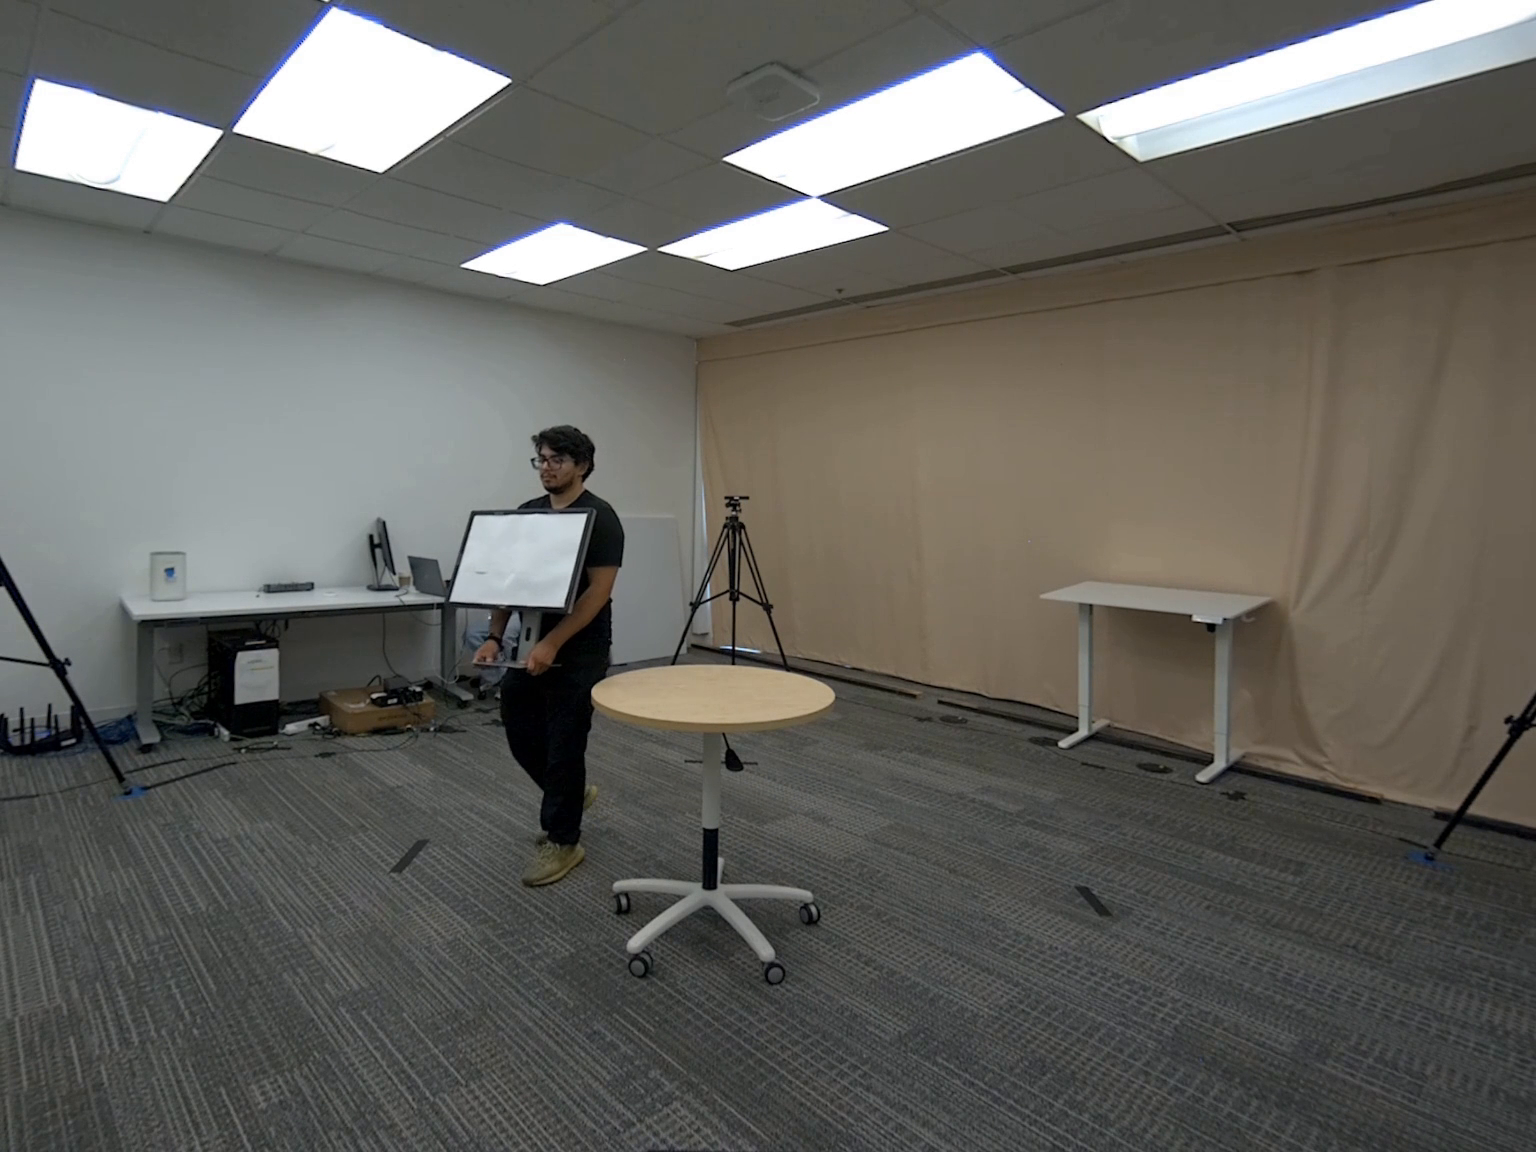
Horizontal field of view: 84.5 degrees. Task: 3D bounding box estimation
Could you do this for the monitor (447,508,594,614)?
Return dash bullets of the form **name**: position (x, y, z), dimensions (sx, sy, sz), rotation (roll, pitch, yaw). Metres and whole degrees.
- **monitor**: position (-0.840, 0.045, 2.925), dimensions (0.577, 0.558, 0.204), rotation (0, -14, 29)
